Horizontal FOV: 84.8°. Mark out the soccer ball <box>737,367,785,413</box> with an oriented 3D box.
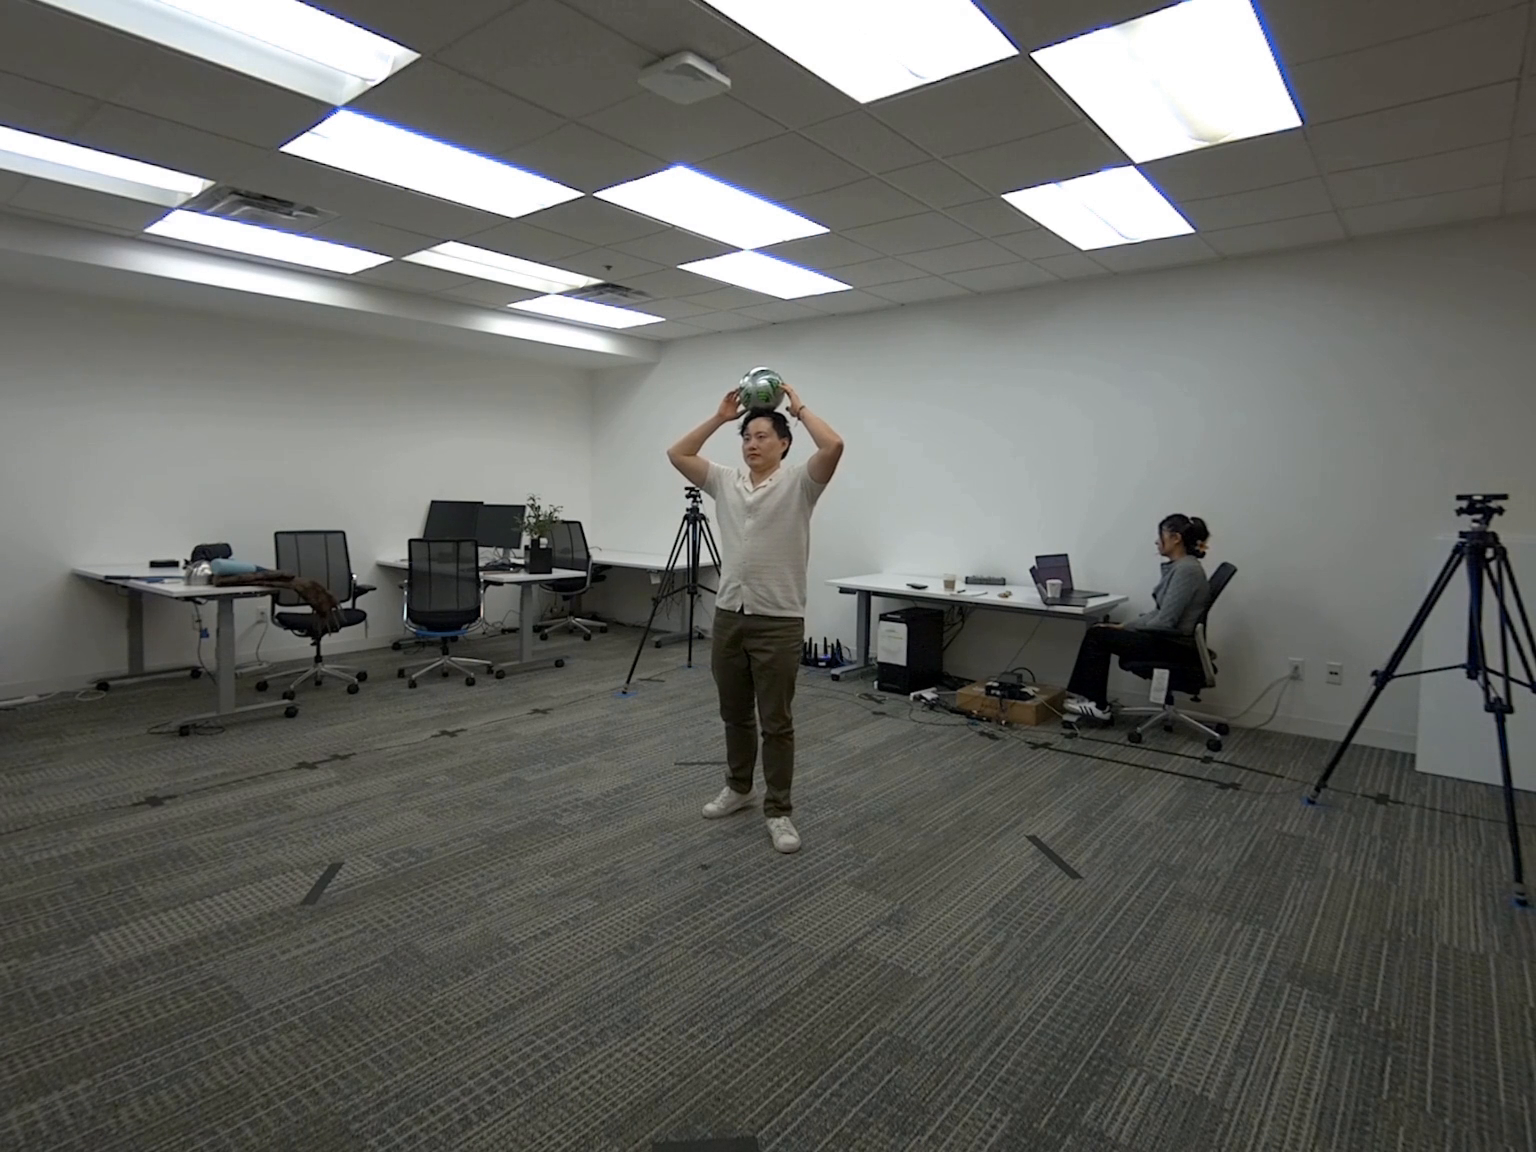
[{"bbox_3d":[-0.035,-0.746,3.432,0.187,0.187,0.188,1,4,-2],"label":"soccer ball"}]
